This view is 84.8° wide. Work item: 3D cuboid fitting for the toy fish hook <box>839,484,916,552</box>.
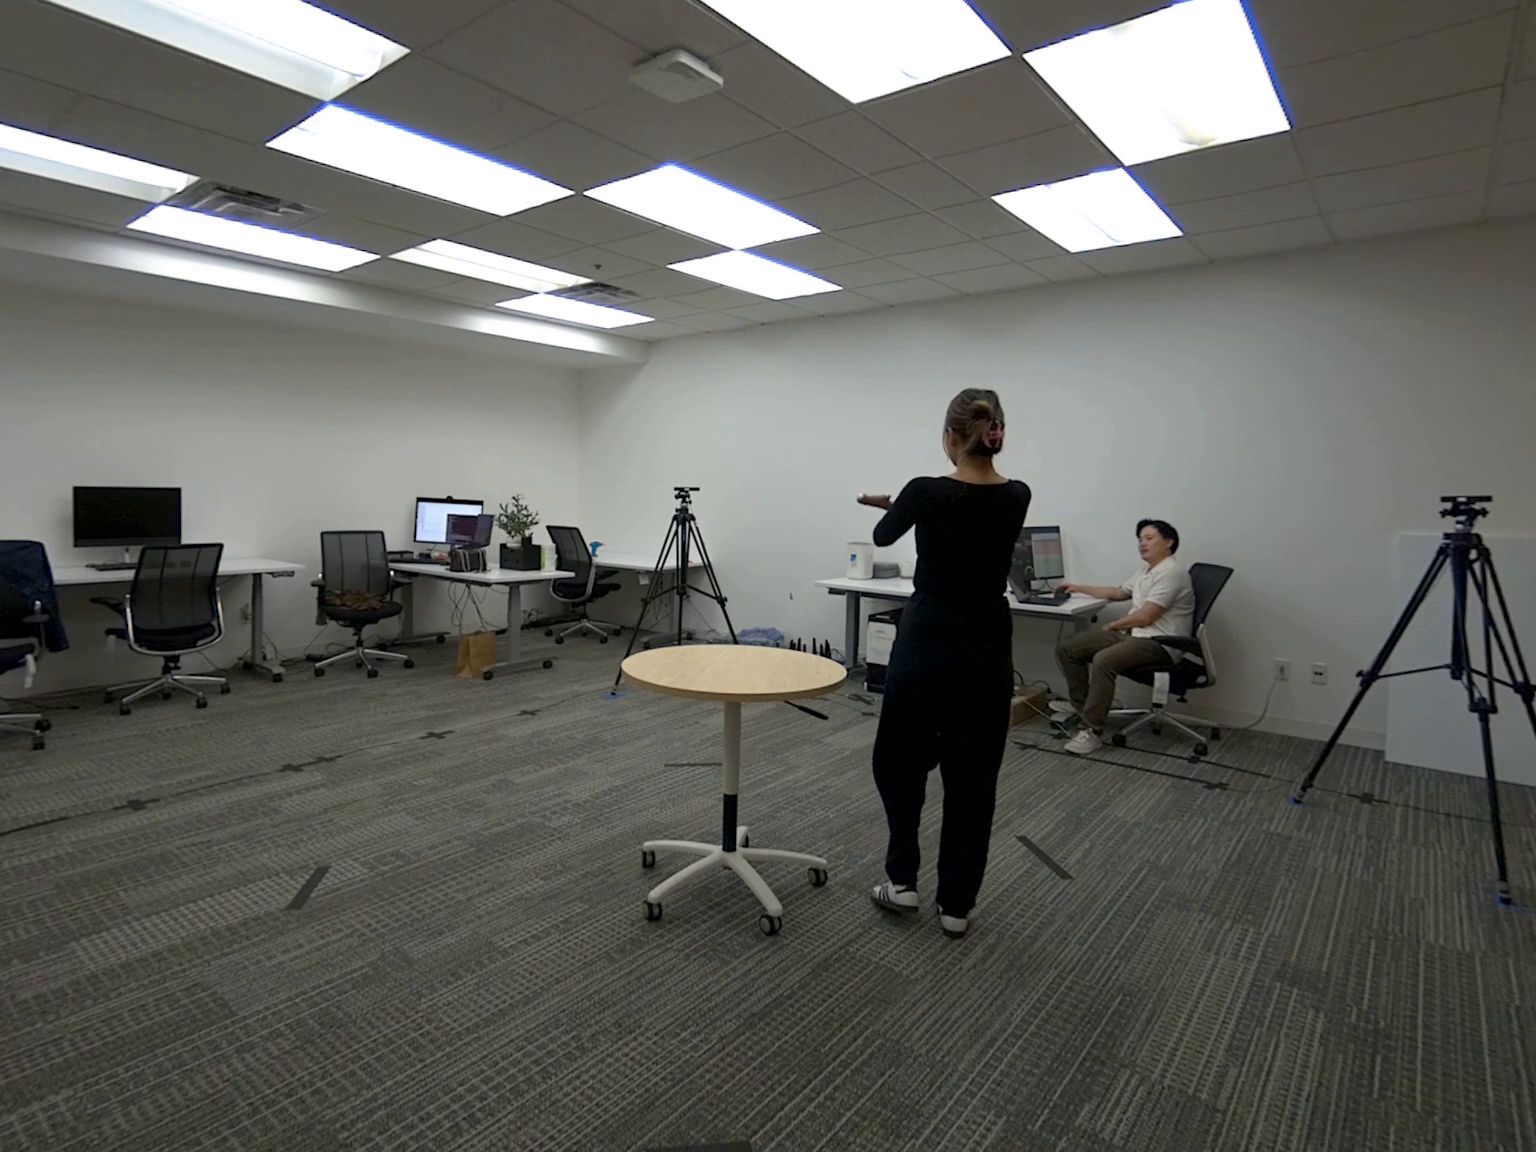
[{"bbox_3d":[0.552,-0.211,3.280,0.503,0.221,0.049,7,23,-5],"label":"toy fish hook"}]
